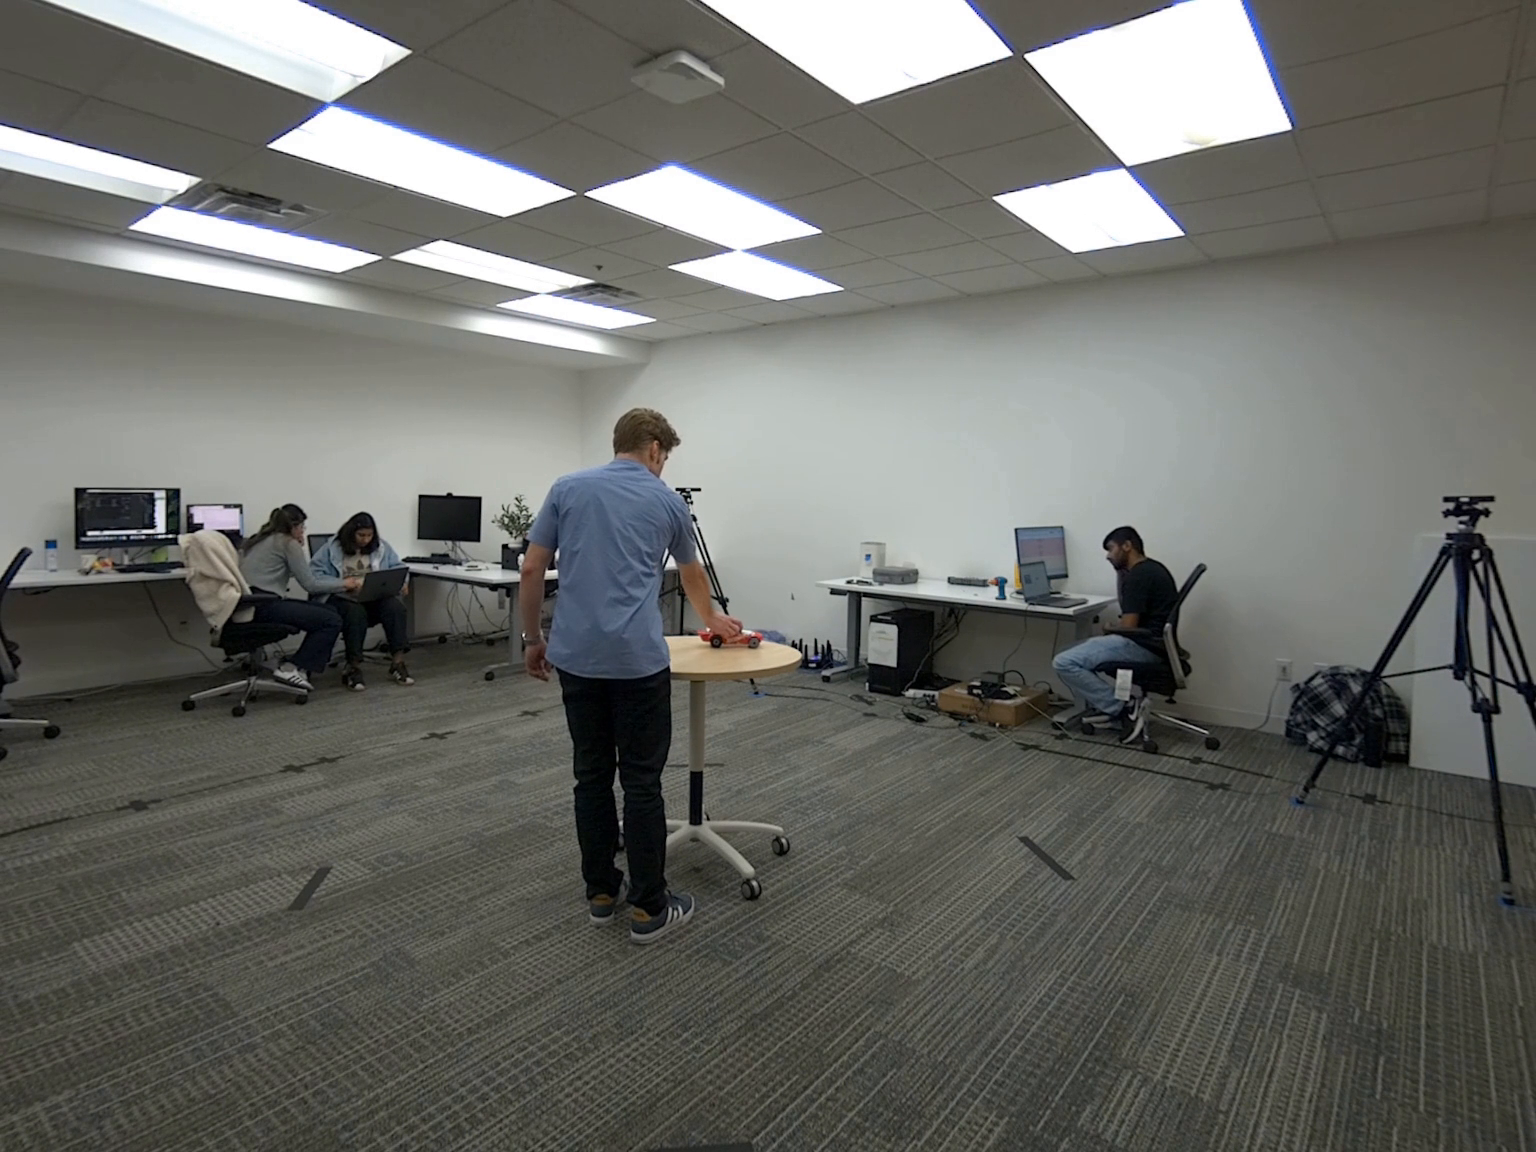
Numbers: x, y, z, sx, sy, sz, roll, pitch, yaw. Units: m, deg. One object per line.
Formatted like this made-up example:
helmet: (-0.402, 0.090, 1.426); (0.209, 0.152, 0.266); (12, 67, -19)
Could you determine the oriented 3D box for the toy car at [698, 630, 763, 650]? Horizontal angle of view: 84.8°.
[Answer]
toy car: (-0.170, 0.239, 3.308); (0.253, 0.083, 0.131); (12, 3, -4)
